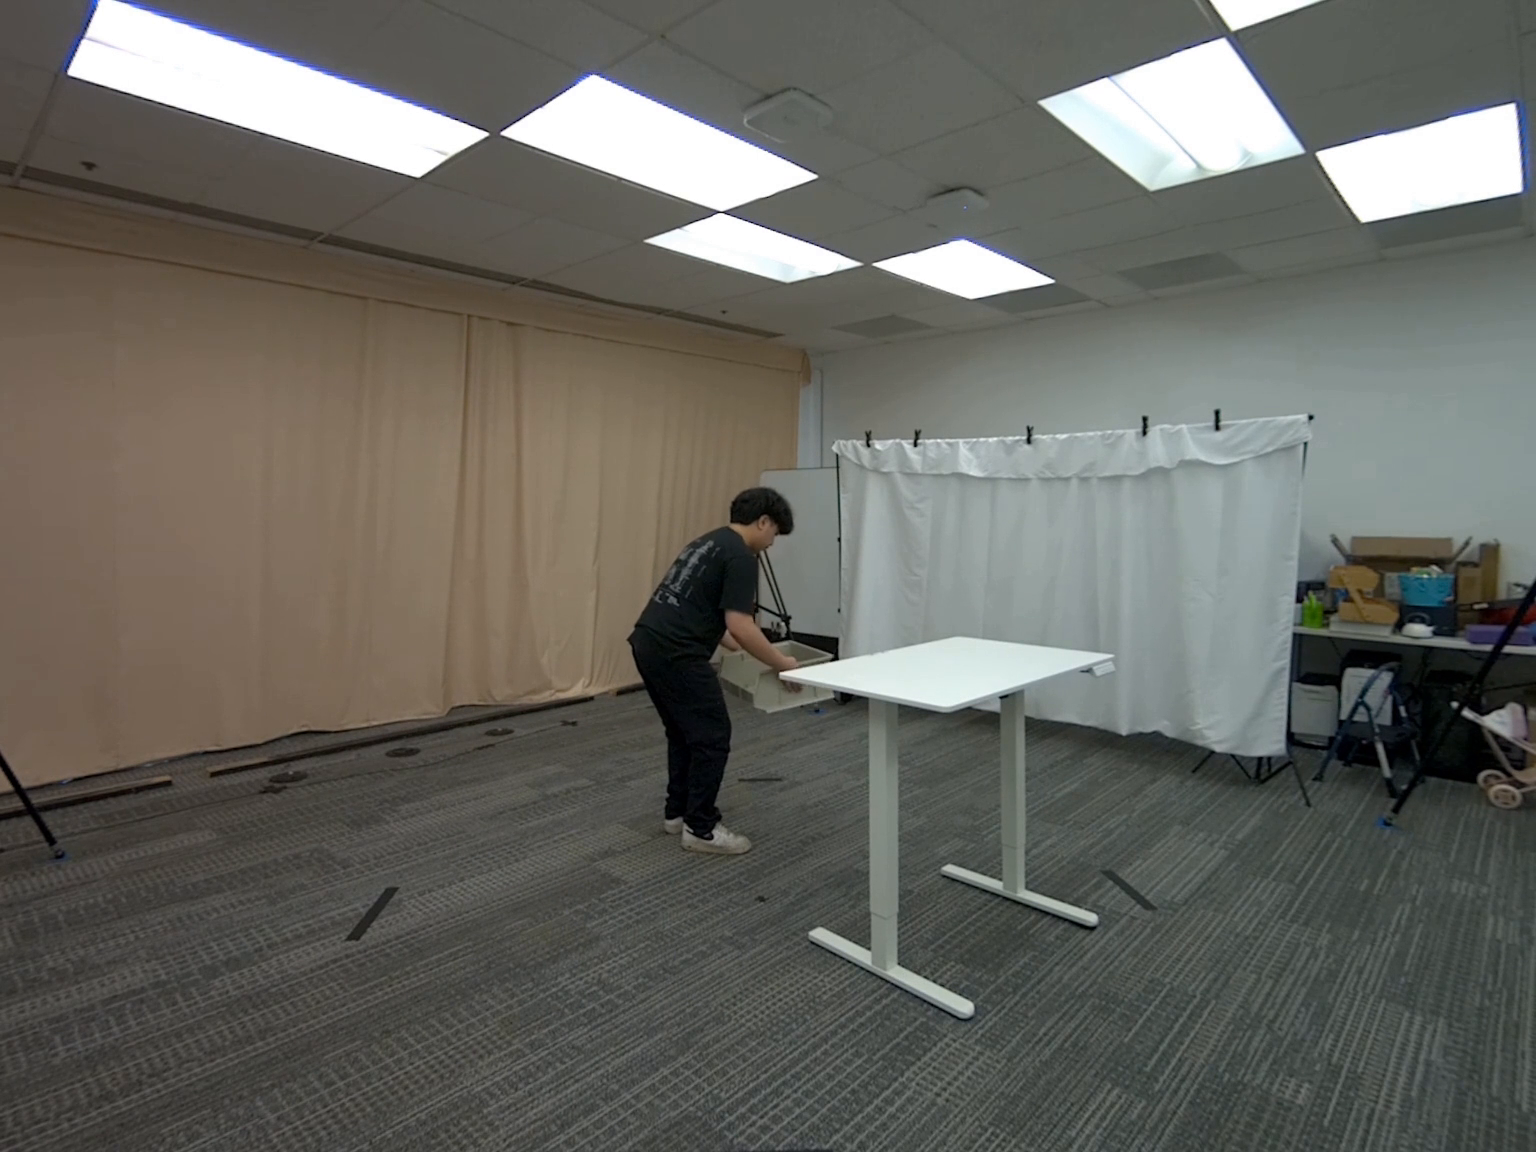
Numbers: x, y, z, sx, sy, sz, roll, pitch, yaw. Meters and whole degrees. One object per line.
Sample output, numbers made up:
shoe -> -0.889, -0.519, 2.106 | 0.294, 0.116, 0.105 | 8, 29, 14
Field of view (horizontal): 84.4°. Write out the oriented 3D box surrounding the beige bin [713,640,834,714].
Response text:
beige bin -> 0.028, 0.429, 3.639 | 0.370, 0.188, 0.433 | -7, 7, -22
